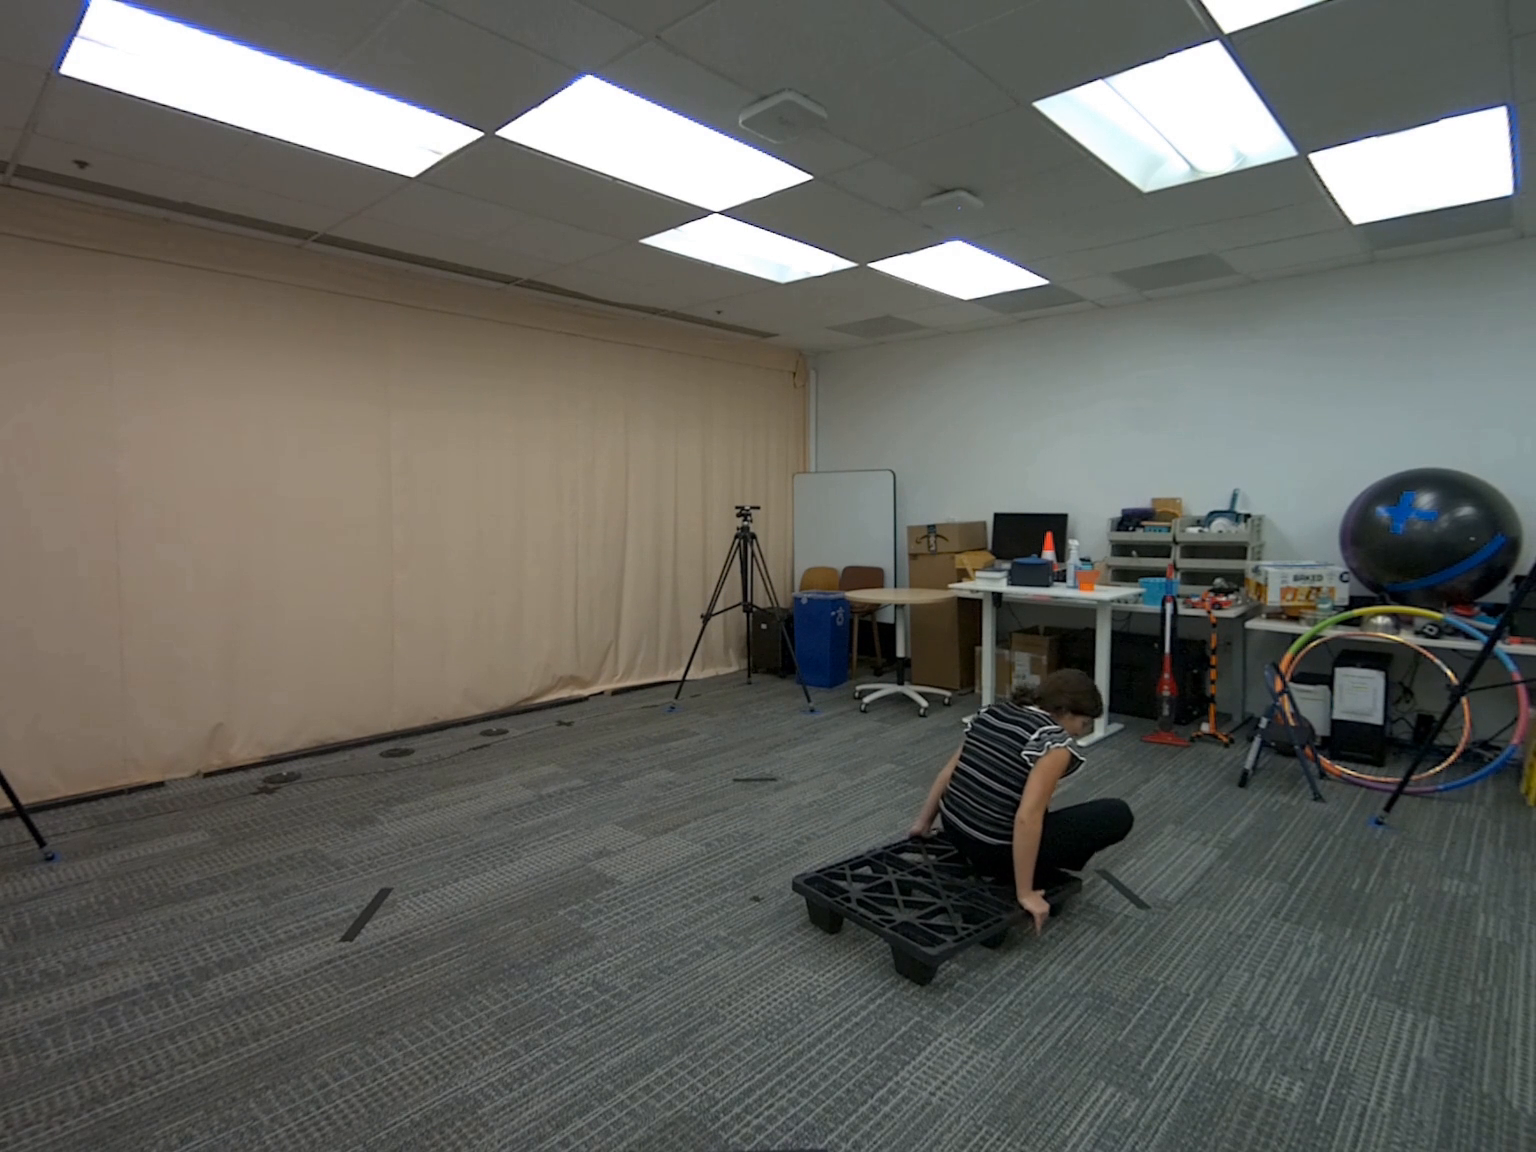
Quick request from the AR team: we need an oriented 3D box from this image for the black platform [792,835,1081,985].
[{"bbox_3d":[0.577,1.090,2.832,0.781,0.143,0.625,-3,7,-39],"label":"black platform"}]
